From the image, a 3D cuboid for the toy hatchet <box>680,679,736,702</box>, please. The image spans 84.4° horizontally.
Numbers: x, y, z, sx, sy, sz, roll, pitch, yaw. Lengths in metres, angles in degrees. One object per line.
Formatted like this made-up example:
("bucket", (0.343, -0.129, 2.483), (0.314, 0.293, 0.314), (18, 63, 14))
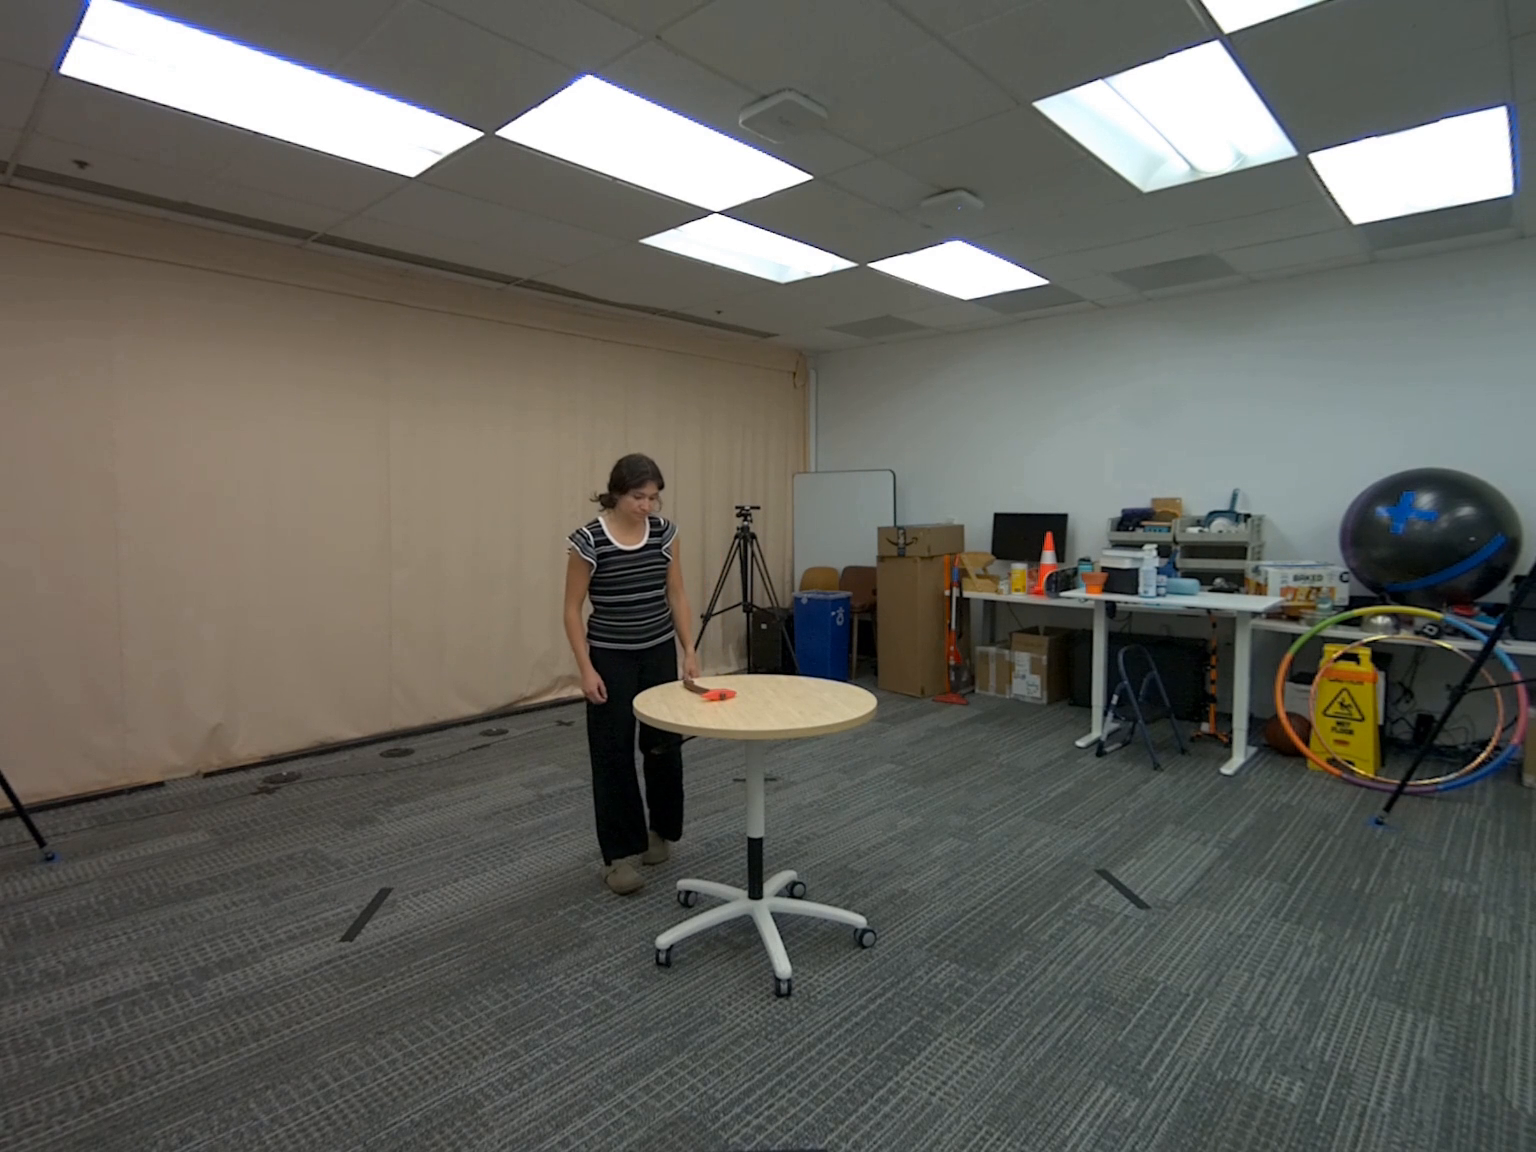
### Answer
("toy hatchet", (-0.186, 0.373, 2.755), (0.129, 0.029, 0.275), (0, 3, -17))
